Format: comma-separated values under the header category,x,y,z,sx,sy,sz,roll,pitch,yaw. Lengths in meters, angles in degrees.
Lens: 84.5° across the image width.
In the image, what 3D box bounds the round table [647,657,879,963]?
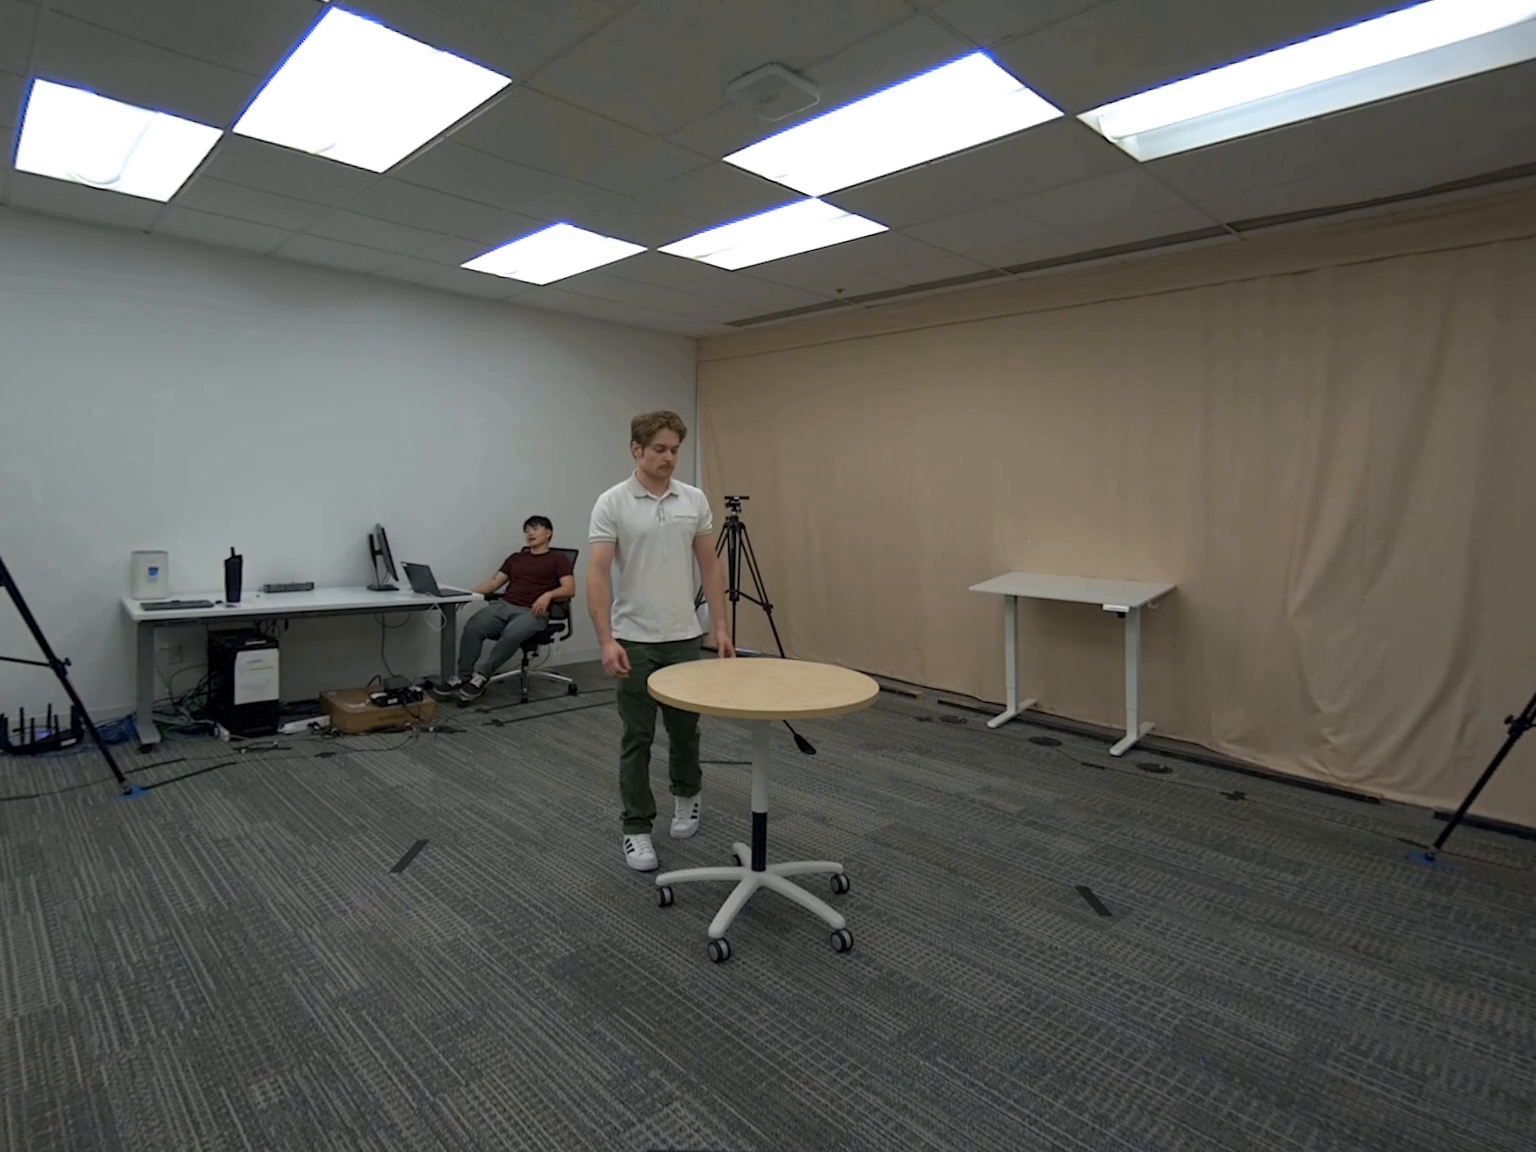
category,x,y,z,sx,sy,sz,roll,pitch,yaw
round table,-0.029,0.745,2.823,0.763,0.791,0.767,2,5,-1
